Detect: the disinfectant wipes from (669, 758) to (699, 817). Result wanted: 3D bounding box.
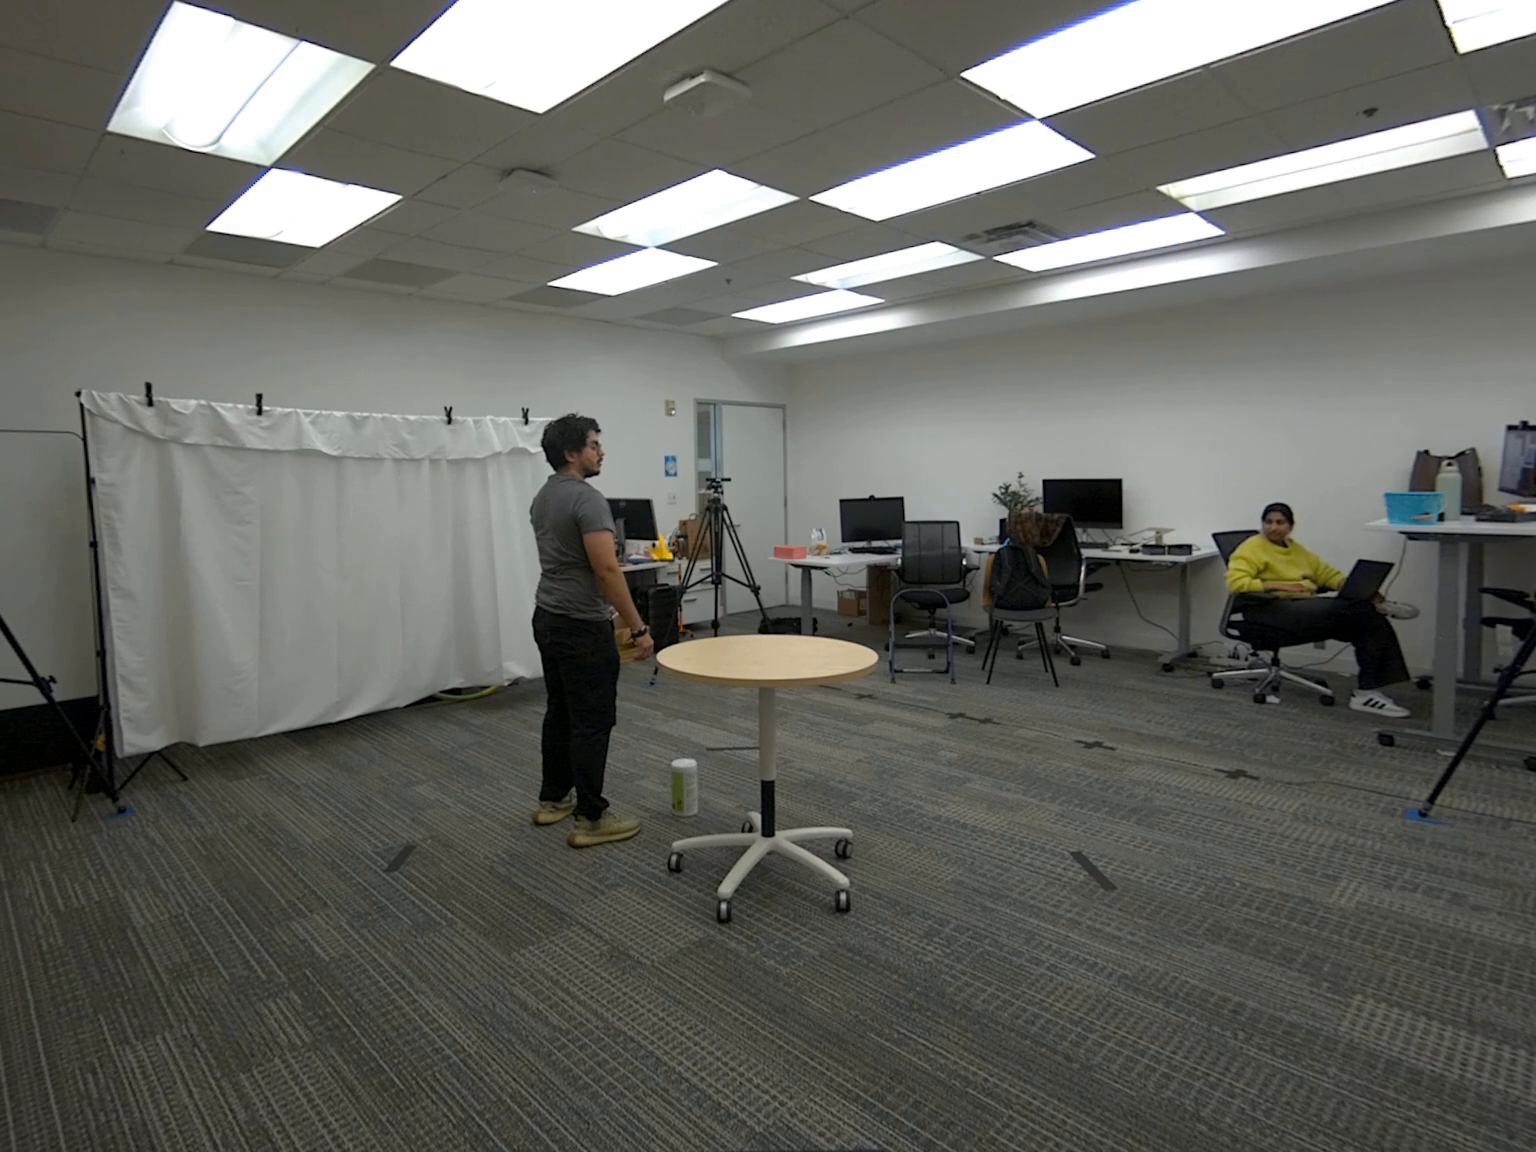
[{"bbox_3d":[-0.352,0.883,3.578,0.118,0.216,0.118,0,5,-2],"label":"disinfectant wipes"}]
